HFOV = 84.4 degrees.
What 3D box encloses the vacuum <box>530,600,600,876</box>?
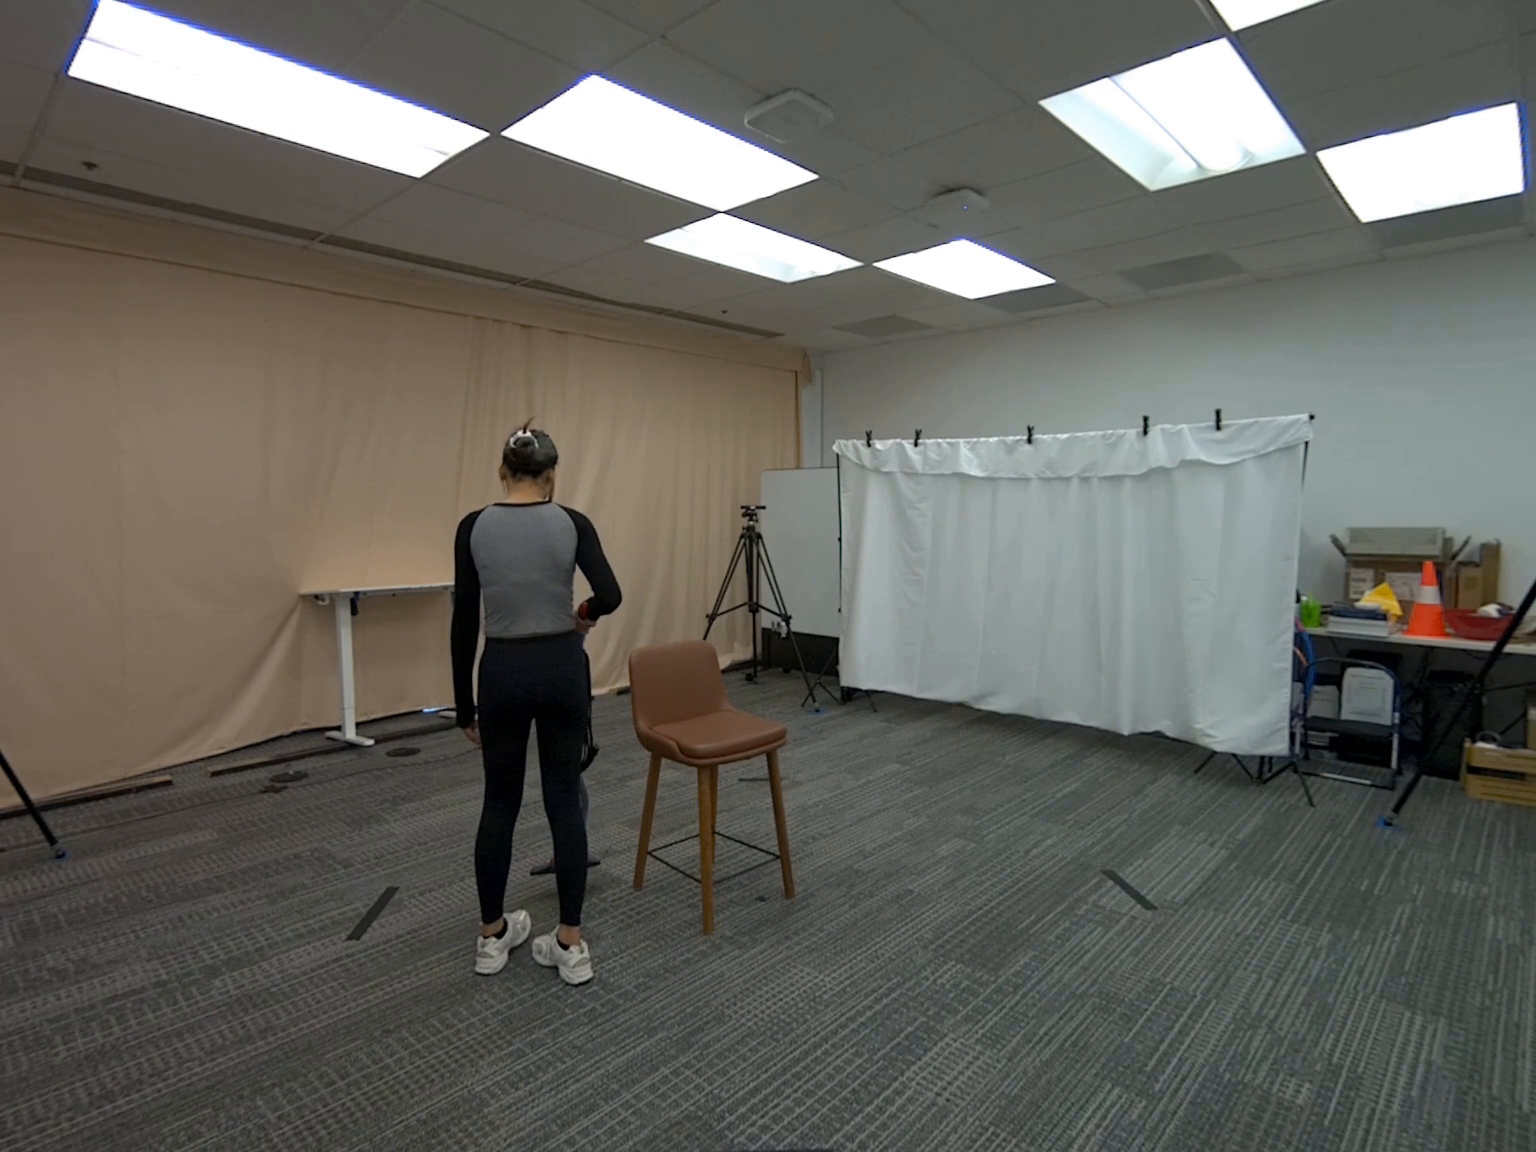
[{"bbox_3d":[-0.643,0.570,2.825,0.246,1.040,0.149,-1,24,-28],"label":"vacuum"}]
